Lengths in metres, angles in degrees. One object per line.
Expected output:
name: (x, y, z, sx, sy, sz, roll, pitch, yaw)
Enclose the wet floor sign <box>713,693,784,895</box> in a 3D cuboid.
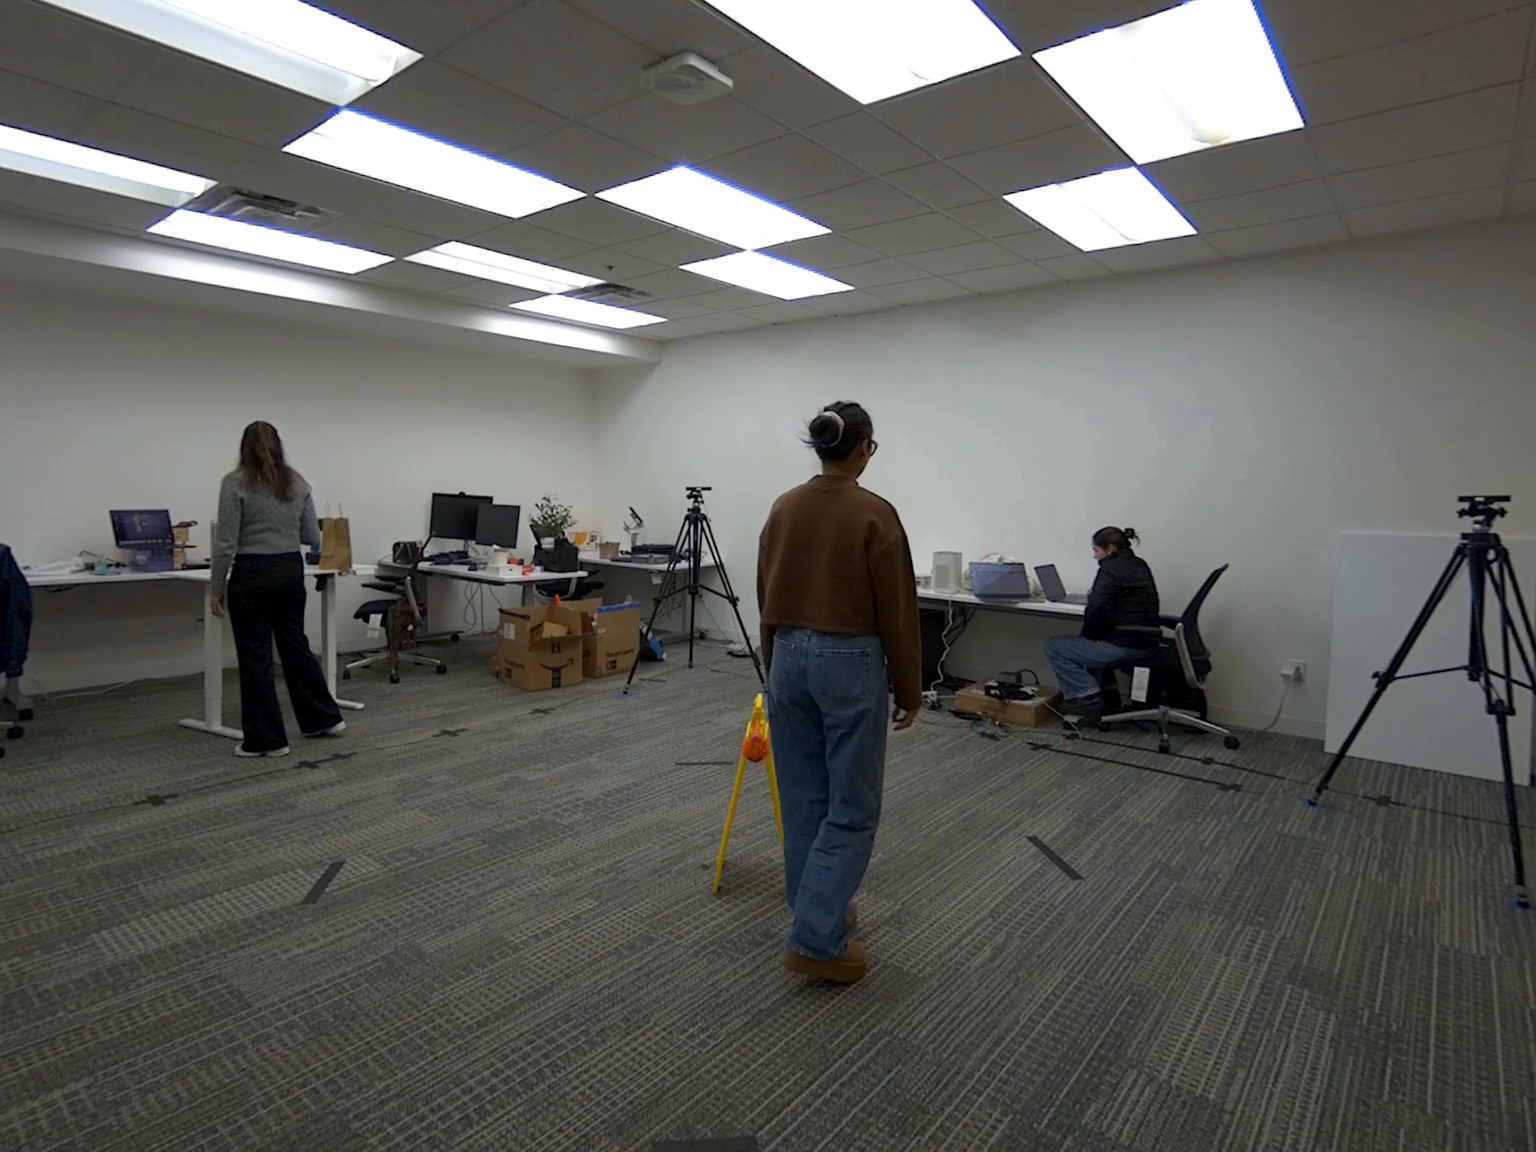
wet floor sign: (-0.046, 0.754, 3.016, 0.291, 0.644, 0.282, 2, 4, 2)
